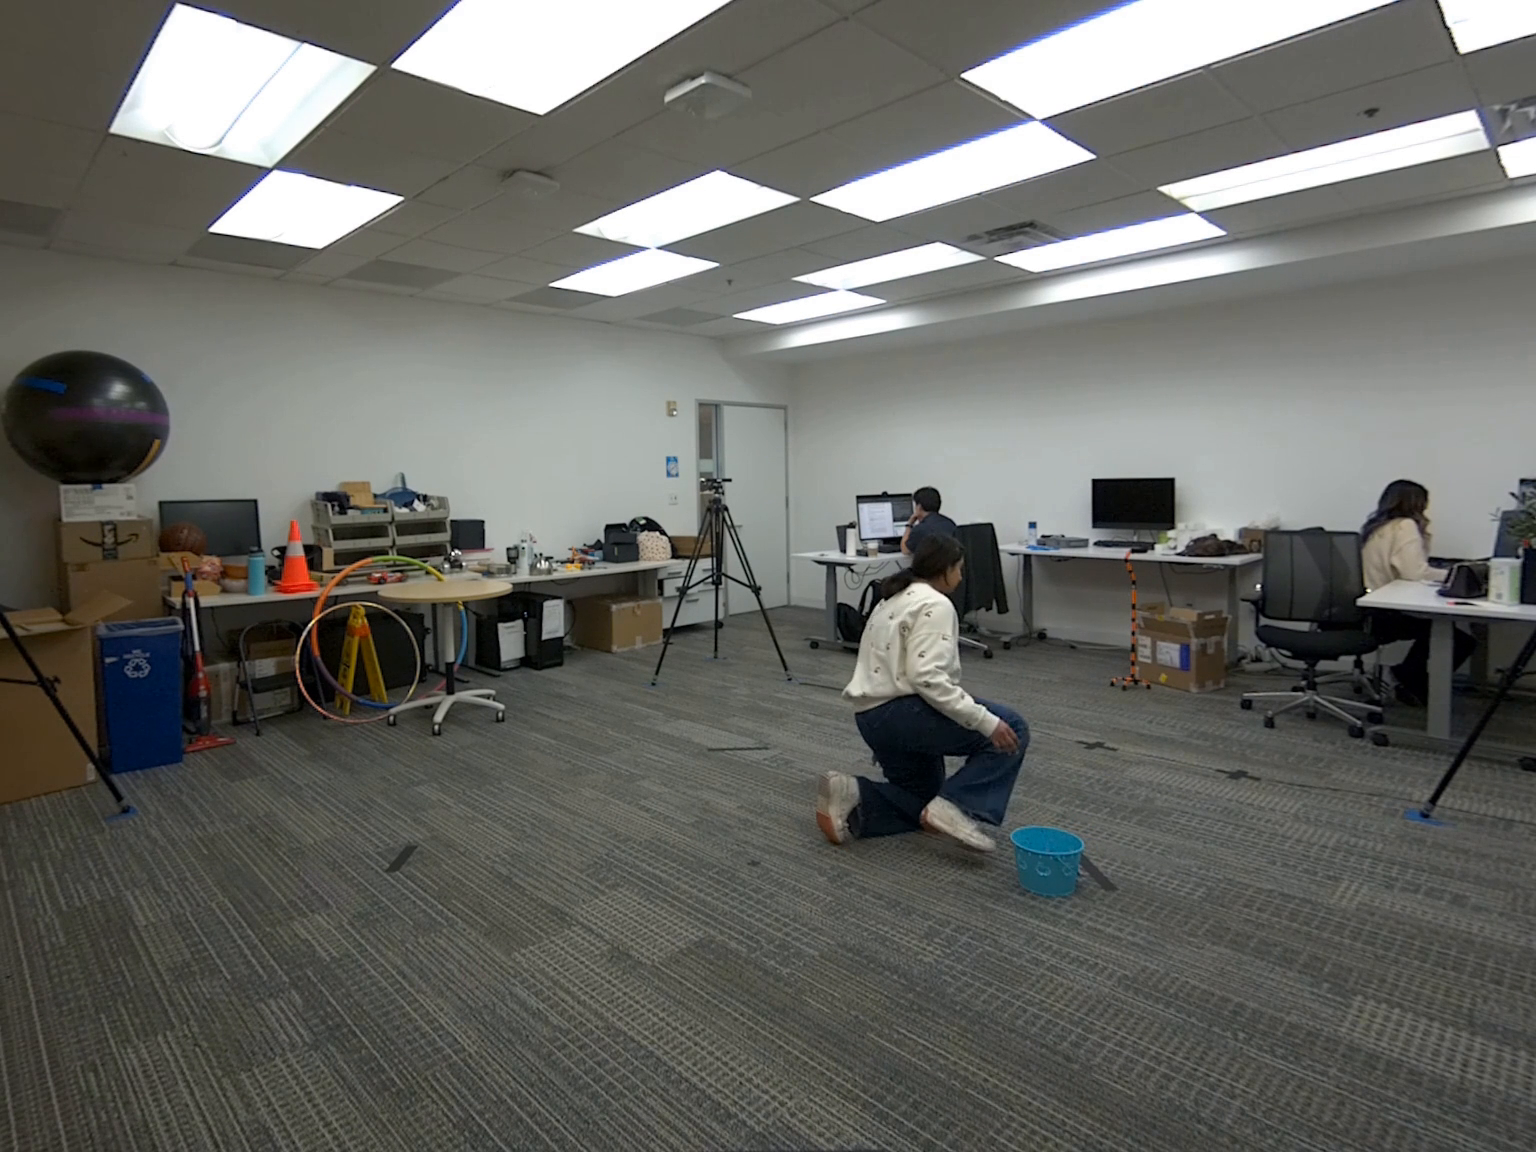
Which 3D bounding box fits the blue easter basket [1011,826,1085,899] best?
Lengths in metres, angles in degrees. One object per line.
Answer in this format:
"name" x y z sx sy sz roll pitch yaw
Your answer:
"blue easter basket" 0.956 0.974 2.904 0.243 0.155 0.245 -1 5 -2
